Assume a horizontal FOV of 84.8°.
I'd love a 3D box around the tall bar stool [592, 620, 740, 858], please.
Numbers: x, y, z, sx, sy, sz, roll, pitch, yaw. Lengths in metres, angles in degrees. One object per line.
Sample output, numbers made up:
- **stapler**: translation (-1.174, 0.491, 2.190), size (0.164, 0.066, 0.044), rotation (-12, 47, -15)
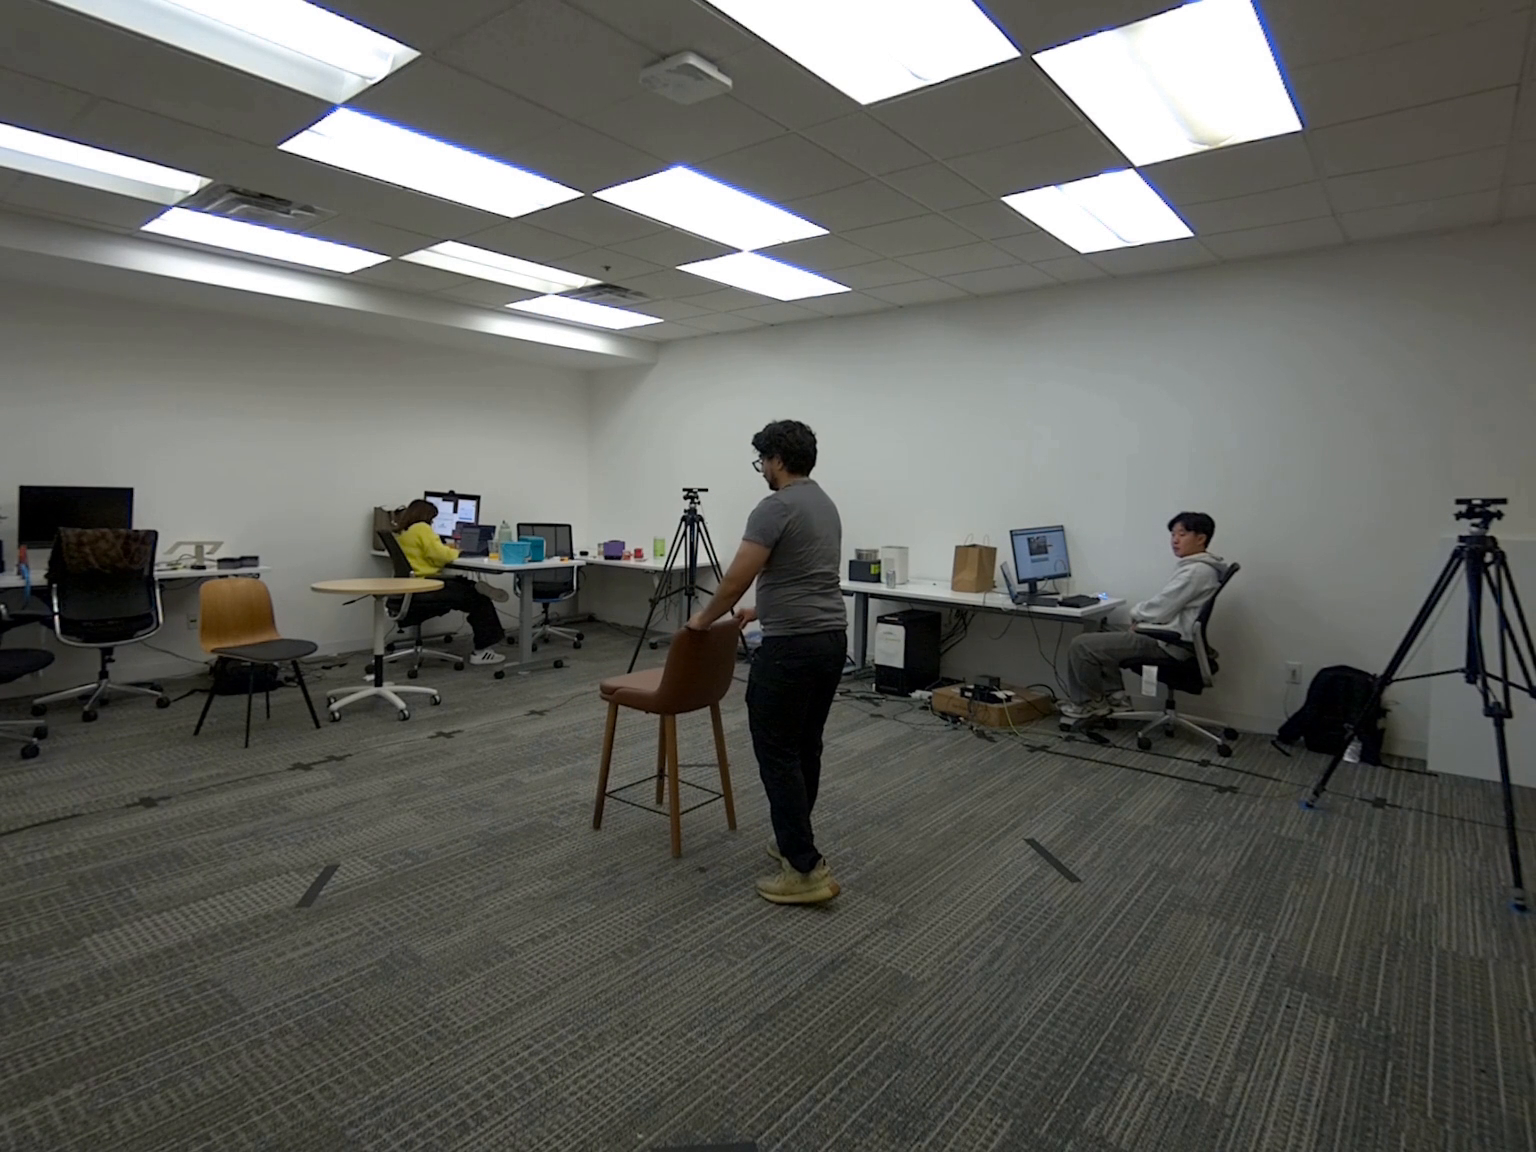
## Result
- **tall bar stool**: translation (-0.411, 0.596, 3.453), size (0.483, 0.886, 0.443), rotation (6, 5, 37)
